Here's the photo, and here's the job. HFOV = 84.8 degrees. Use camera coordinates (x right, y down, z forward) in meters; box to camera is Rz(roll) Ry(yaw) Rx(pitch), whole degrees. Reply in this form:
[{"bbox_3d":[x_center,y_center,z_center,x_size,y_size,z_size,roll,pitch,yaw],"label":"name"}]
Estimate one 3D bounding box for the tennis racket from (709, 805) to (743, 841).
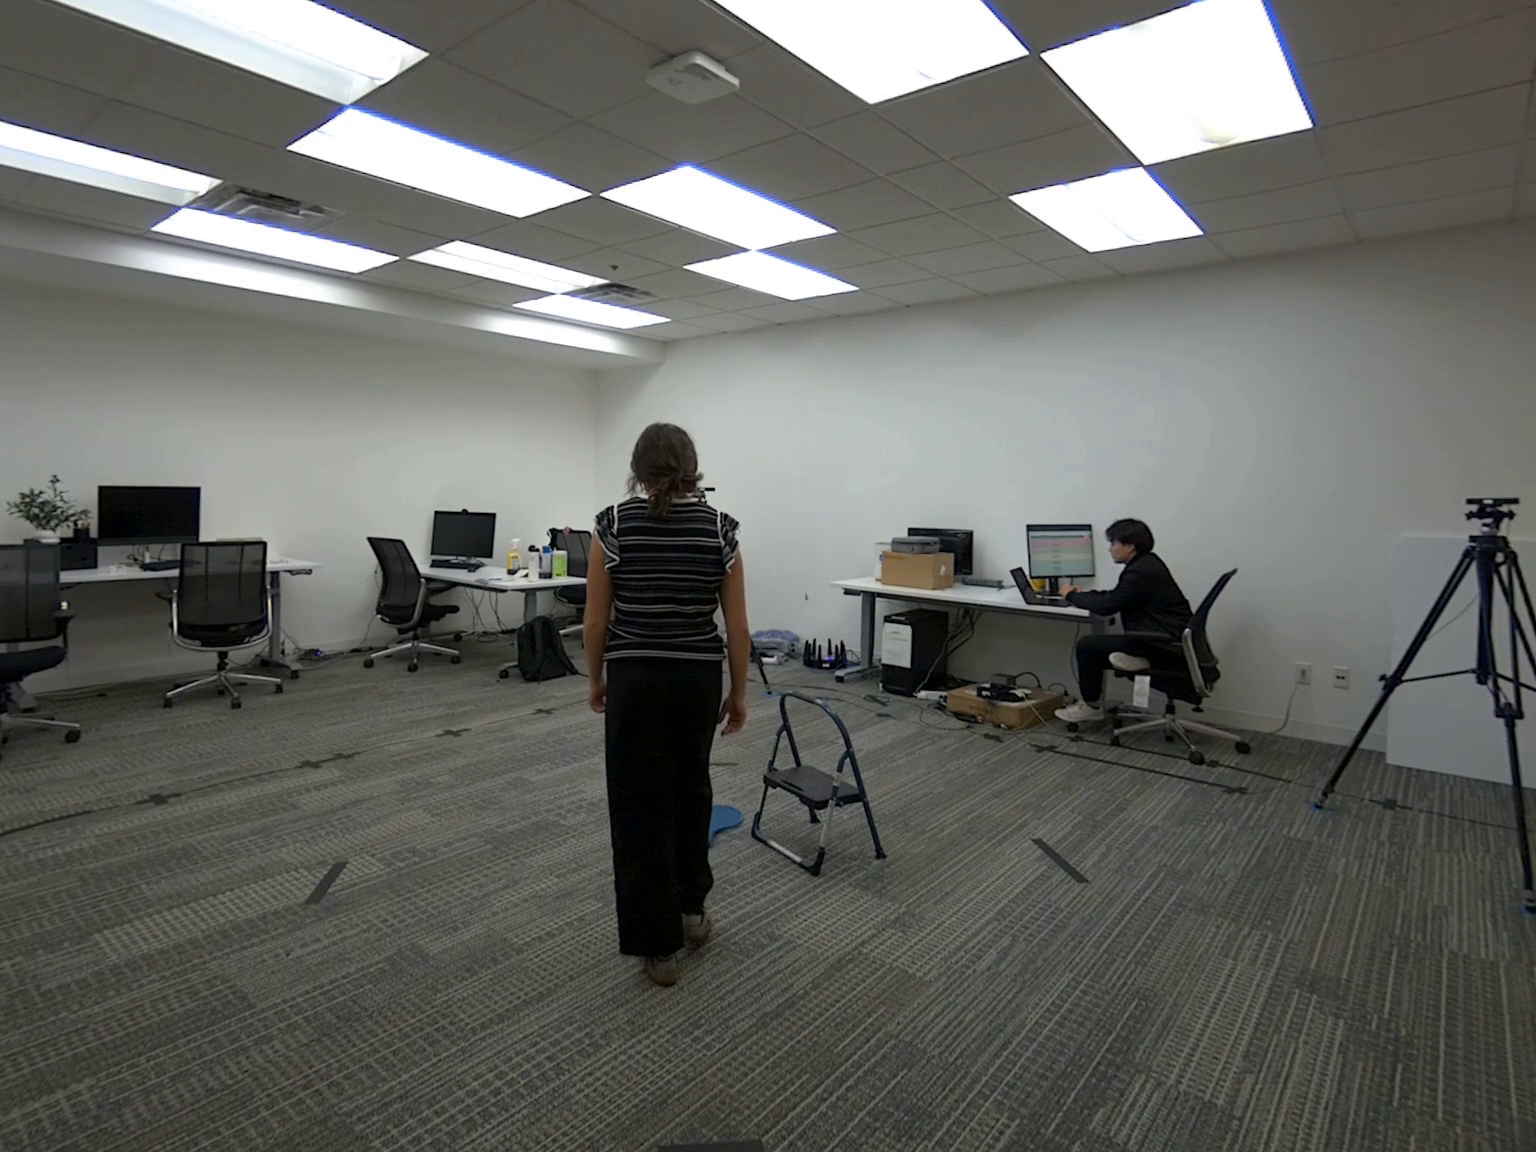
[{"bbox_3d":[-0.225,1.009,3.494,0.216,0.032,0.429,2,4,8],"label":"tennis racket"}]
